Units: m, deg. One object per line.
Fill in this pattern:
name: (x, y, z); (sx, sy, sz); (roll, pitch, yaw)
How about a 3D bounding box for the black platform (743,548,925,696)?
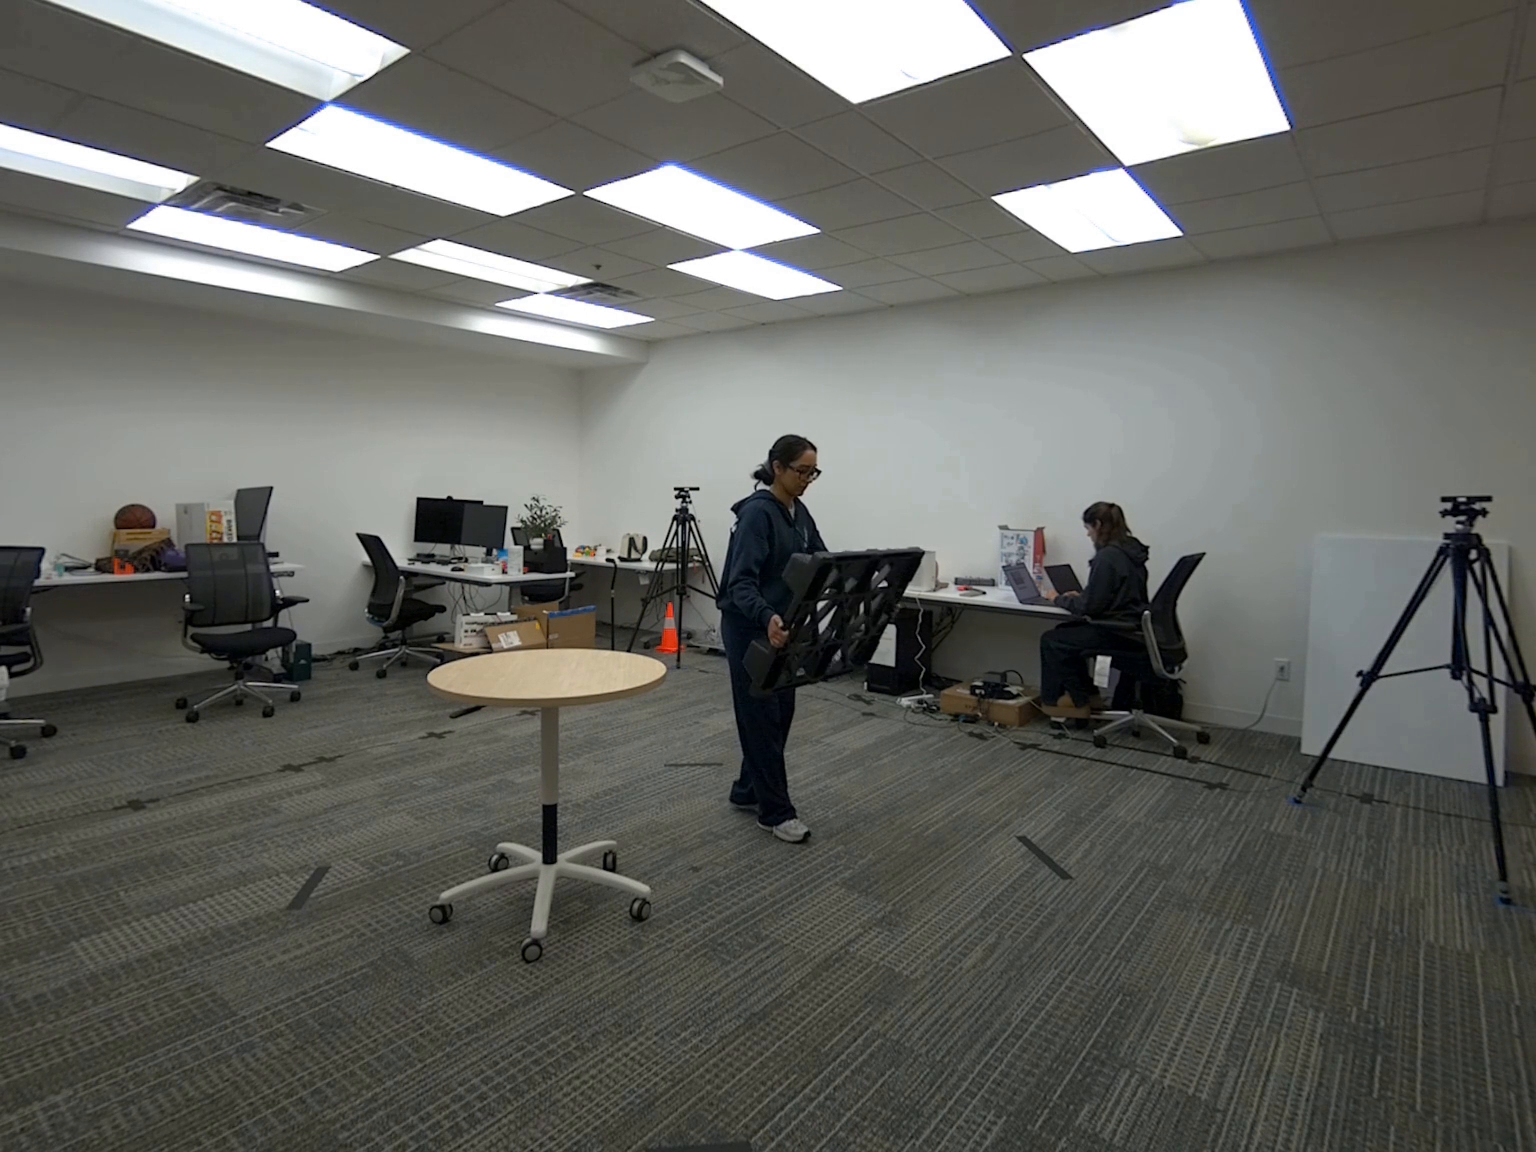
black platform: (0.243, 0.134, 3.324); (0.149, 0.600, 0.782); (35, 22, 30)
